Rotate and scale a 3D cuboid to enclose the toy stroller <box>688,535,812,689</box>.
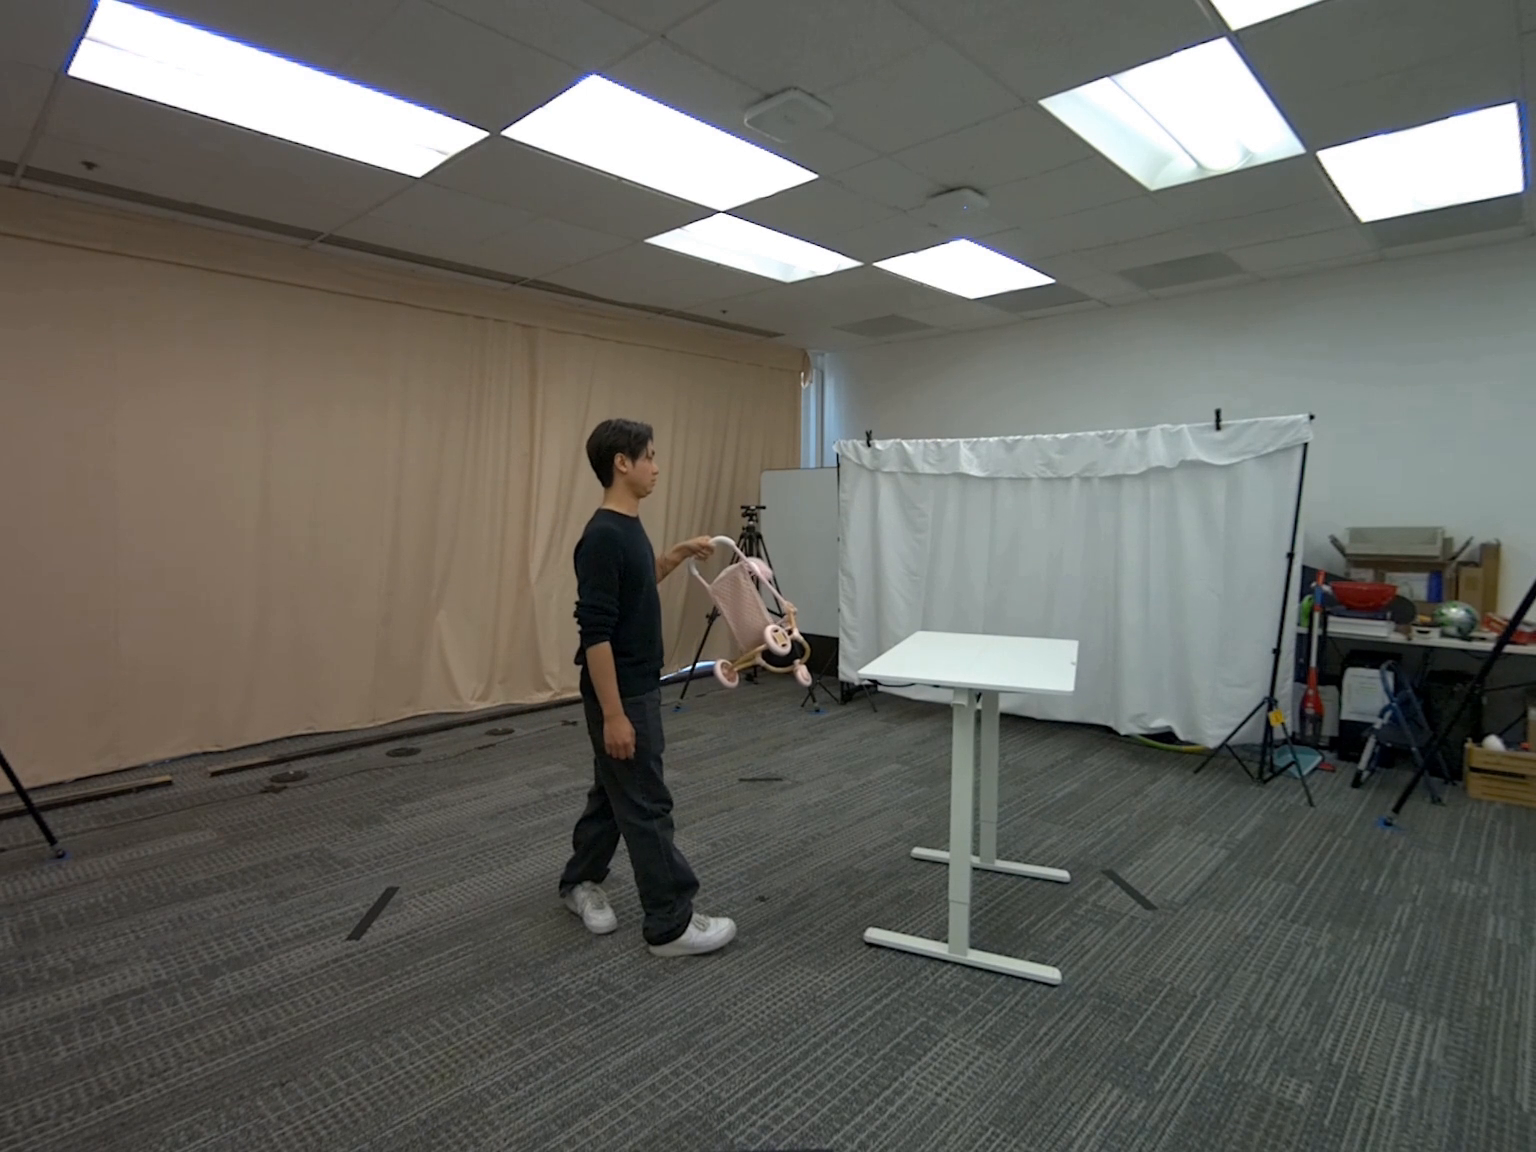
[{"bbox_3d":[-0.038,0.147,2.961,0.330,0.547,0.284,6,-37,-45],"label":"toy stroller"}]
